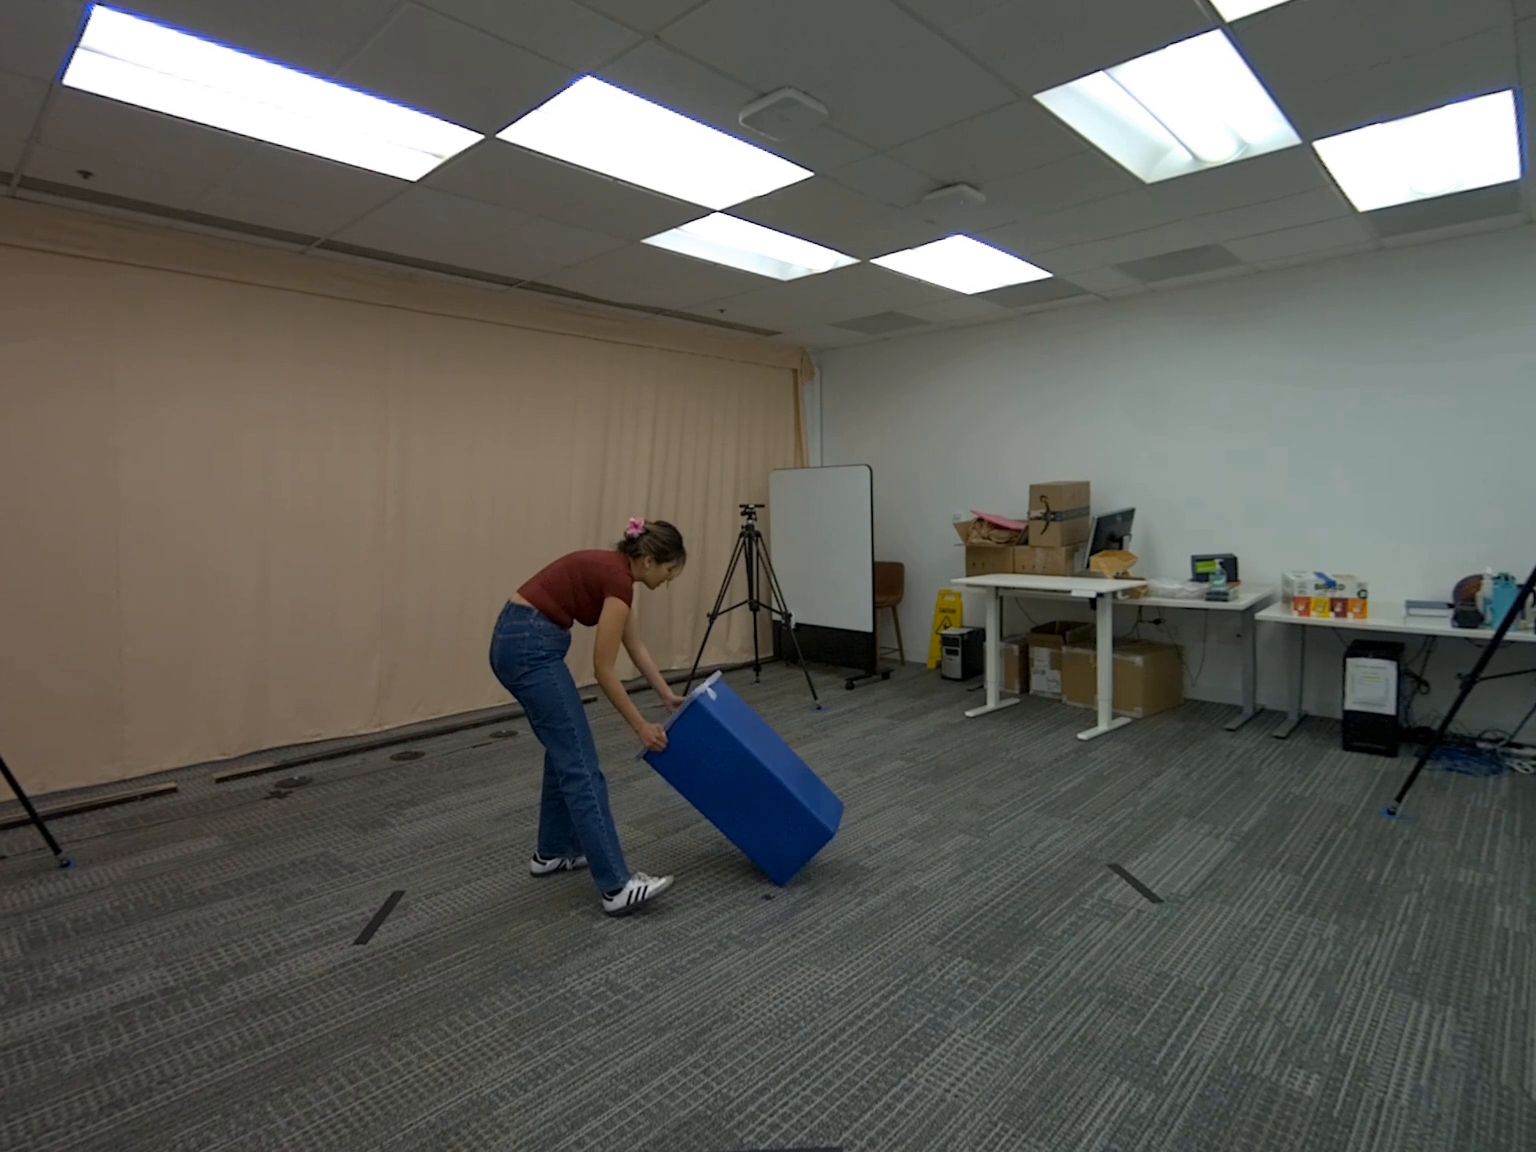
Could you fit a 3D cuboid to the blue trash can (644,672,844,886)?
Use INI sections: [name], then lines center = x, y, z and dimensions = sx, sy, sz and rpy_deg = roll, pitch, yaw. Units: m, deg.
[blue trash can]
center = -0.097, 0.772, 3.204
dimensions = 0.721, 0.375, 0.373
rpy_deg = 44, 12, 8
